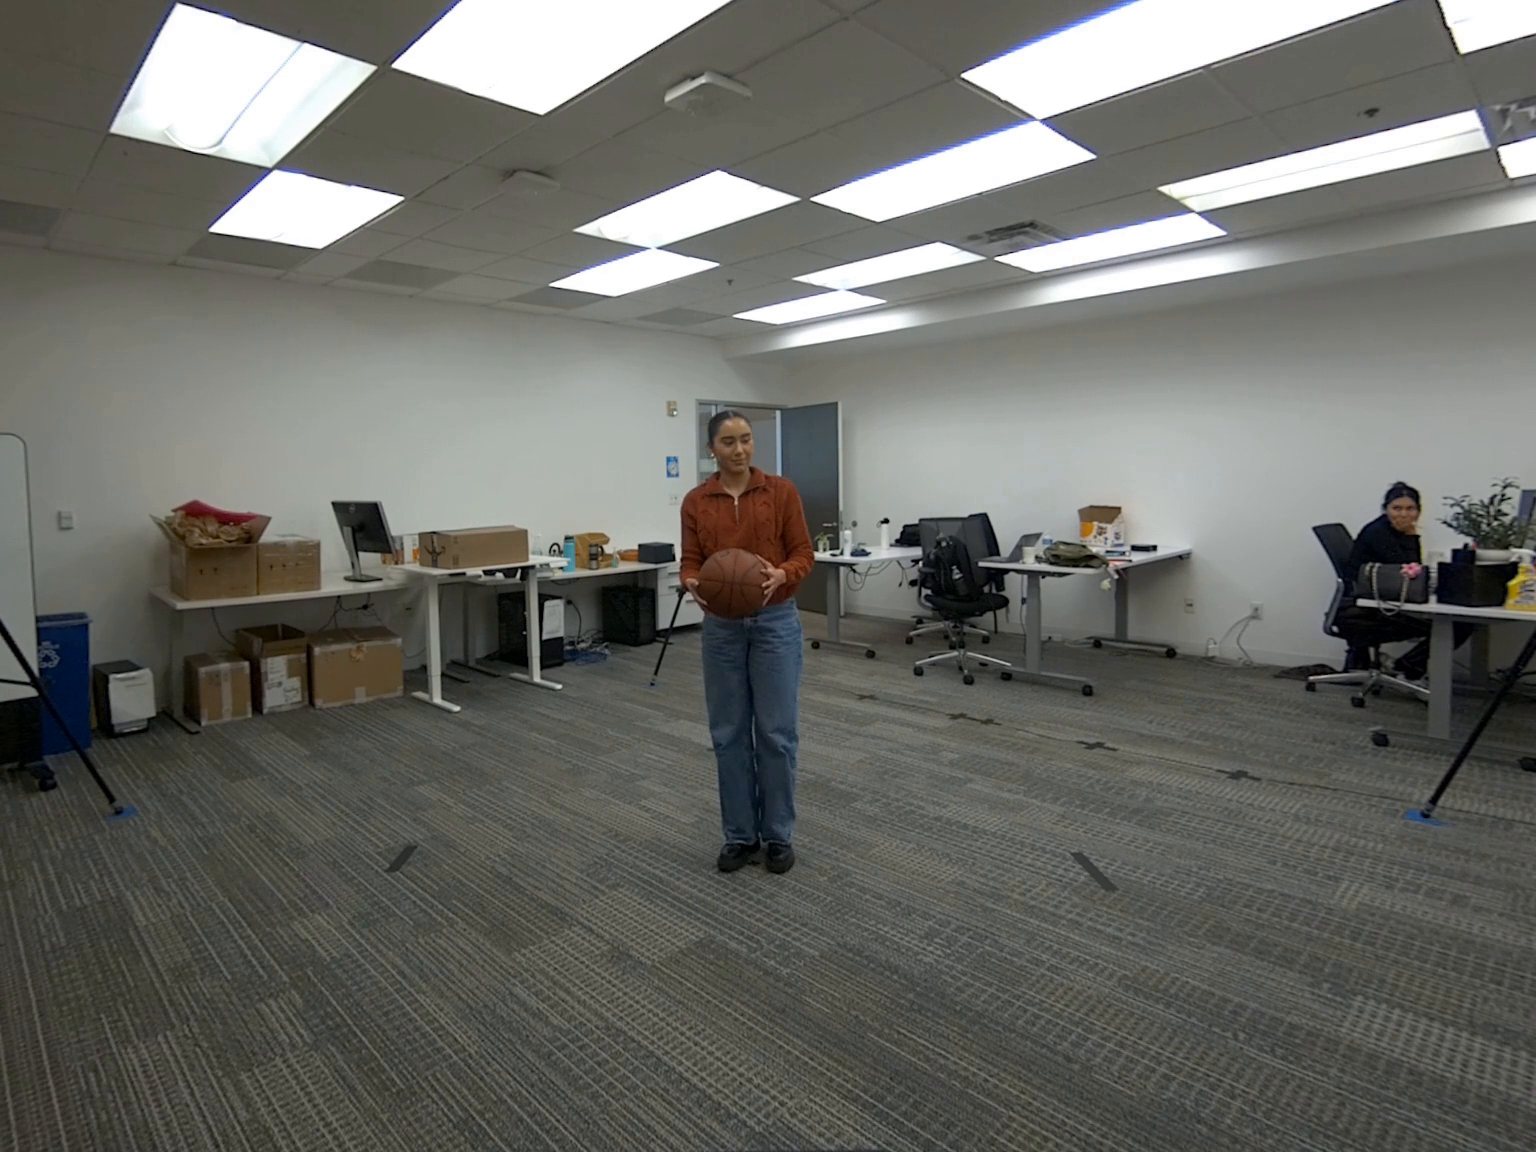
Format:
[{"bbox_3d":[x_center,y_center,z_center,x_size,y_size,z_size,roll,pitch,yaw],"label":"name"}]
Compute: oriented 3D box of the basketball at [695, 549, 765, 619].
[{"bbox_3d":[-0.109,0.027,2.850,0.236,0.235,0.237,-1,5,-2],"label":"basketball"}]
